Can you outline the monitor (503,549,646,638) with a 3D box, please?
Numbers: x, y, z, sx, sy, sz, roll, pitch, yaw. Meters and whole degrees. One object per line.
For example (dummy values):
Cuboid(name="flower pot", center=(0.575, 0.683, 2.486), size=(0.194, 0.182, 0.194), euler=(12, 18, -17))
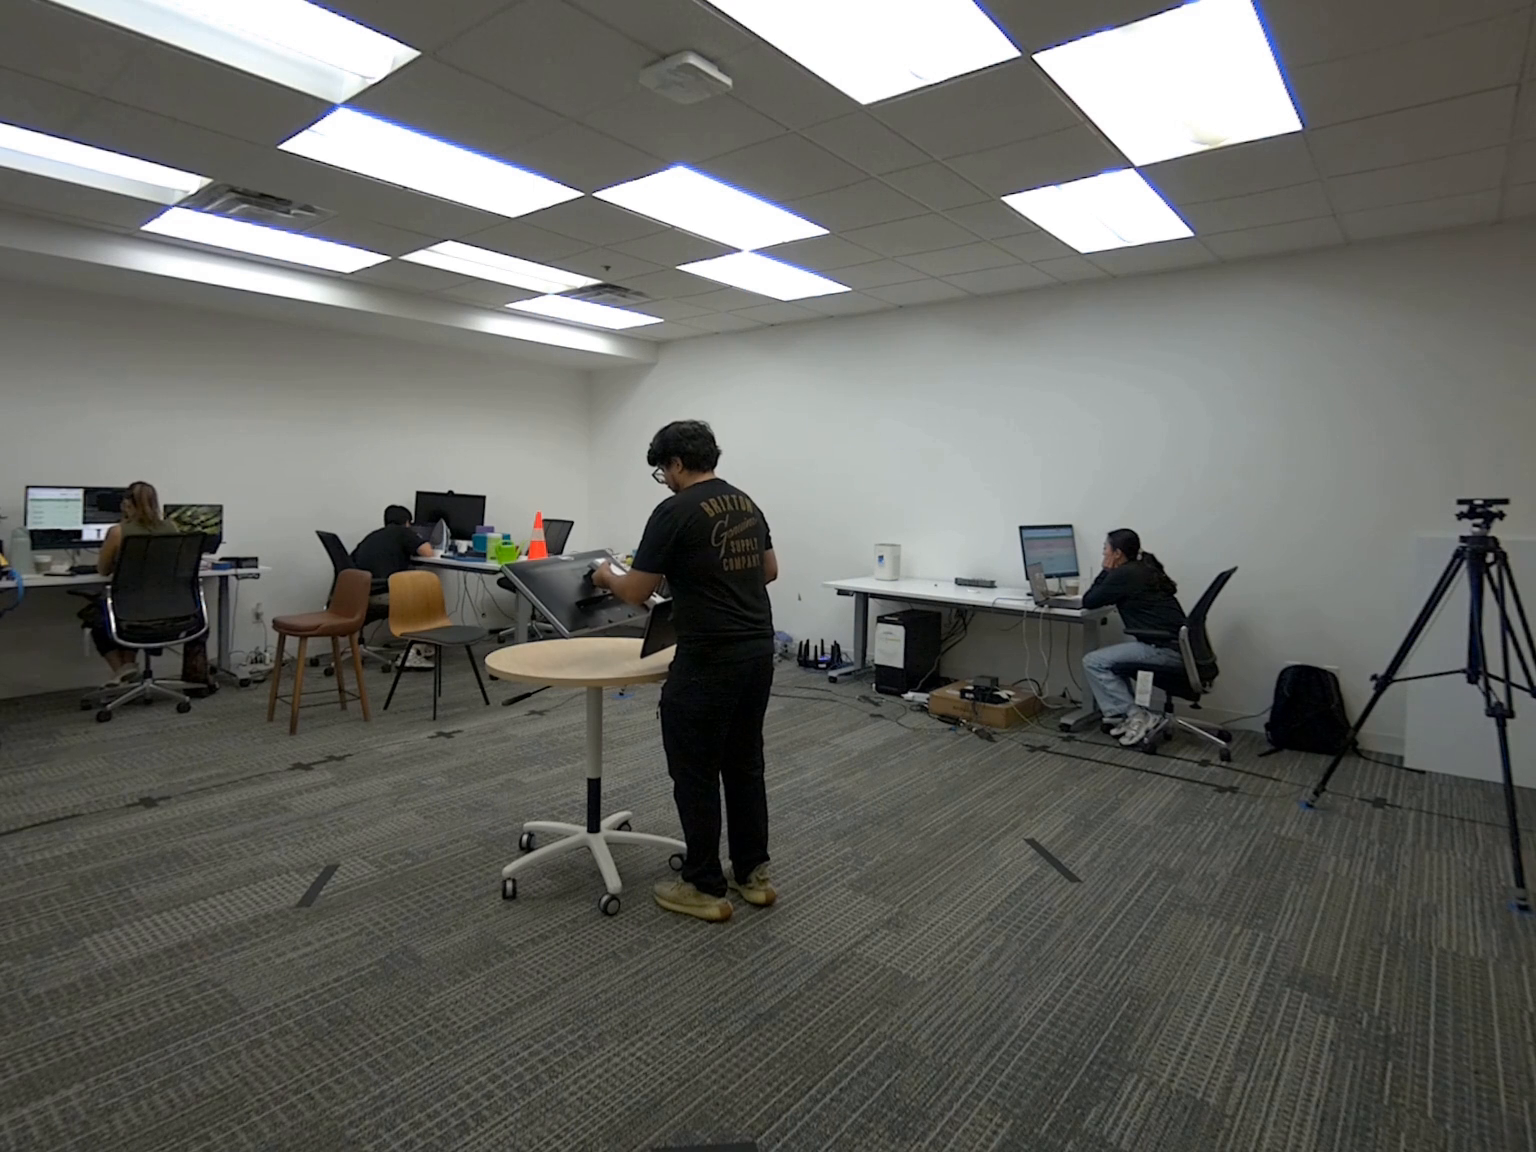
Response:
Cuboid(name="monitor", center=(-0.557, 0.029, 3.015), size=(0.571, 0.208, 0.553), euler=(35, 22, 22))
